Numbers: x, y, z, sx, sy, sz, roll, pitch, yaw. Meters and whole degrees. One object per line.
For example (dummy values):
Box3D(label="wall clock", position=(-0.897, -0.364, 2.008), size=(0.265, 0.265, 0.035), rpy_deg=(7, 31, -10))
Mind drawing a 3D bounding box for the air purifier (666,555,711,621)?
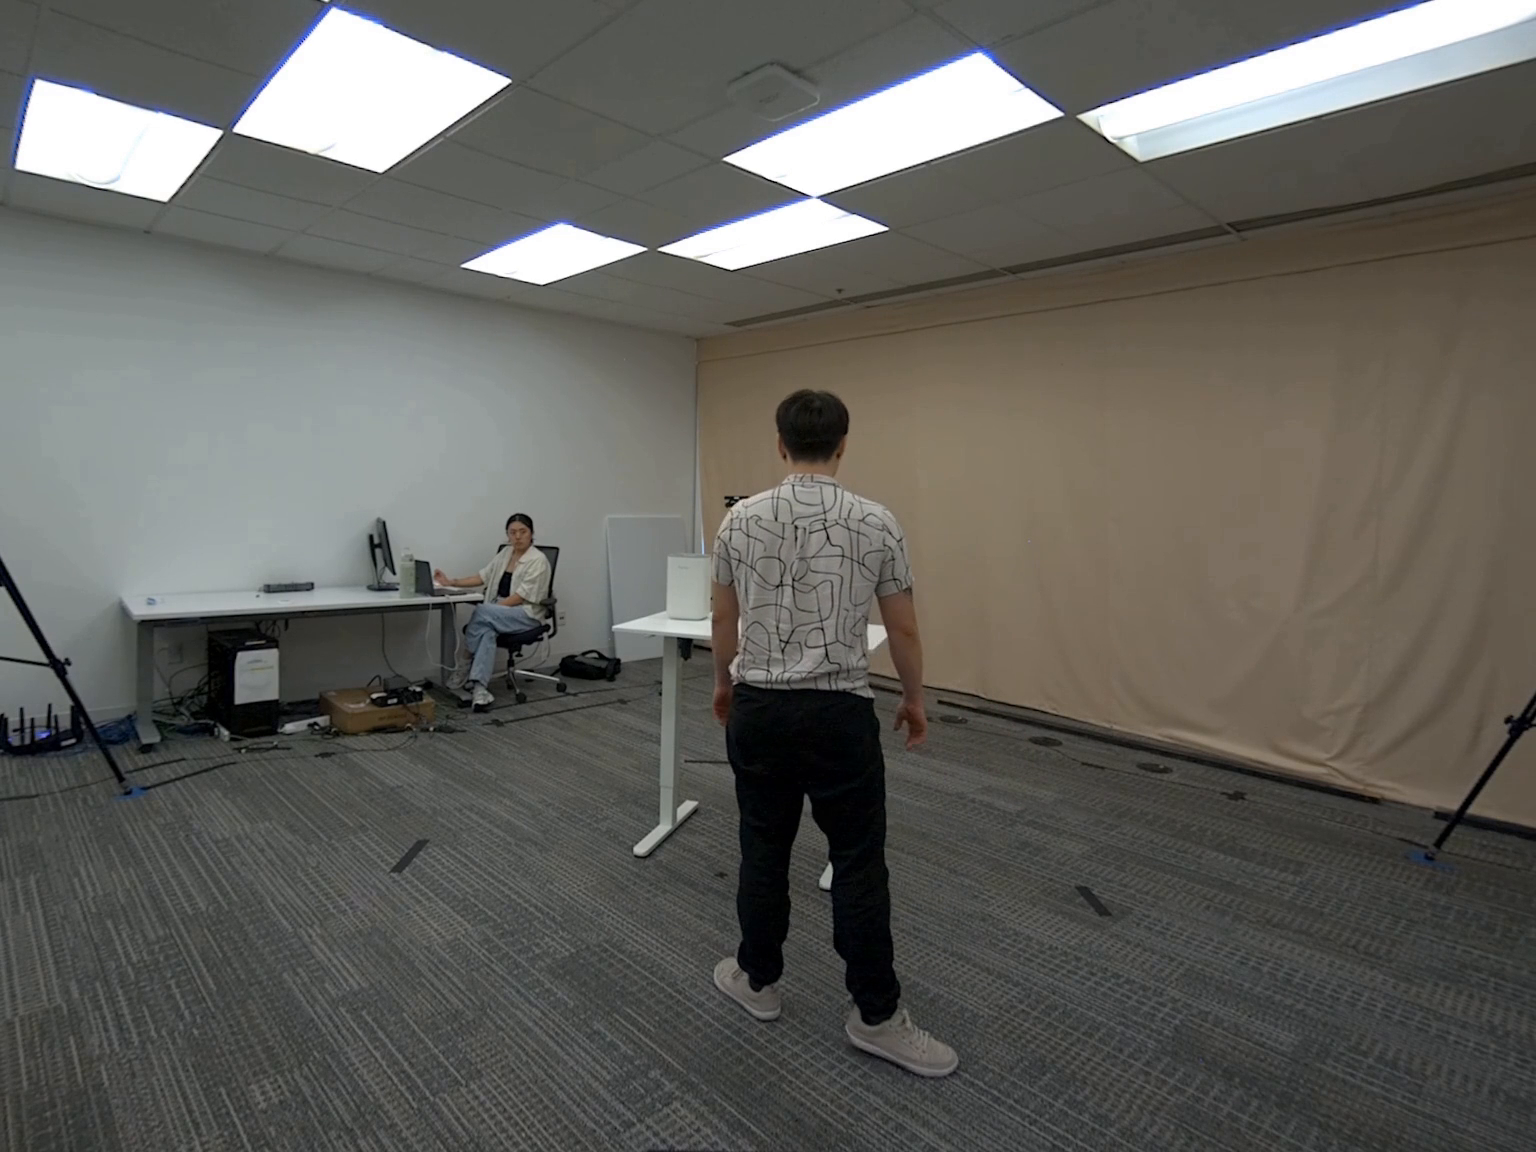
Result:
Box3D(label="air purifier", position=(-0.334, 0.049, 3.529), size=(0.172, 0.264, 0.171), rpy_deg=(4, 5, 9))
